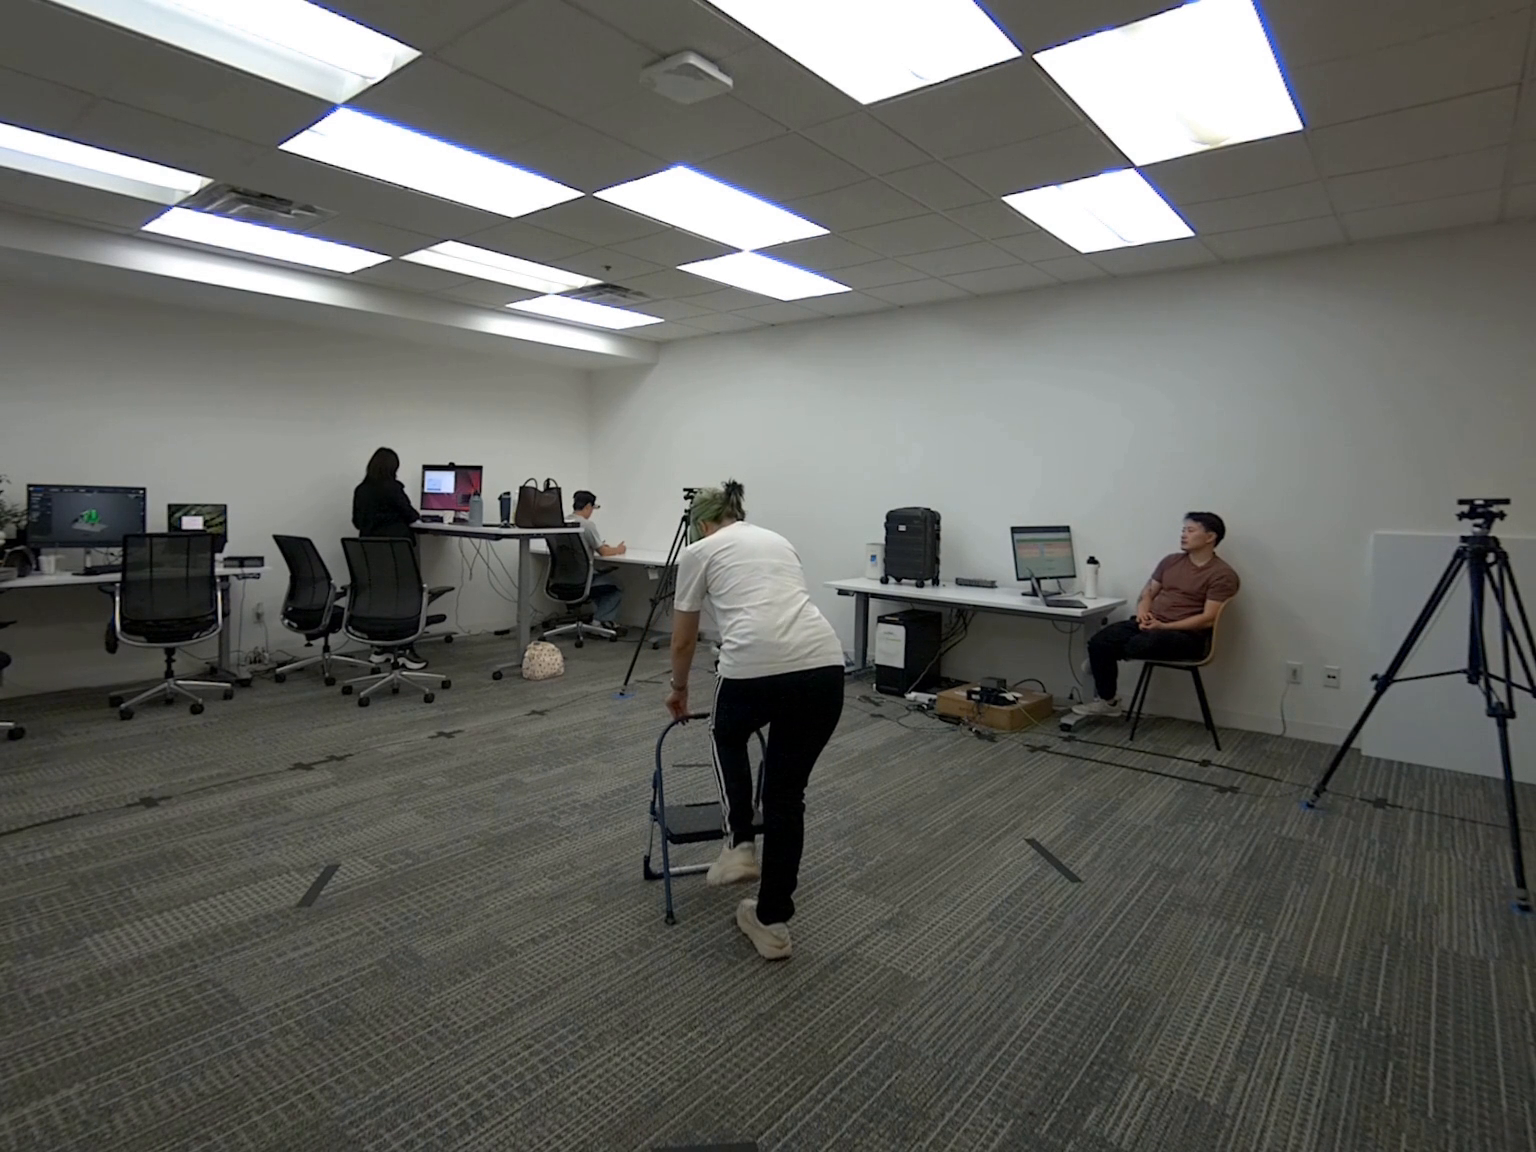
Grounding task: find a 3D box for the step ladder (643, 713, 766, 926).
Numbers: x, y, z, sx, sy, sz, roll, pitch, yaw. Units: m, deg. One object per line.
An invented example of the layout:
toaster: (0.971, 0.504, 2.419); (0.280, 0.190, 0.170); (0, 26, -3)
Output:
step ladder: (-0.194, 0.788, 2.921); (0.422, 0.604, 0.358); (0, 4, -21)
